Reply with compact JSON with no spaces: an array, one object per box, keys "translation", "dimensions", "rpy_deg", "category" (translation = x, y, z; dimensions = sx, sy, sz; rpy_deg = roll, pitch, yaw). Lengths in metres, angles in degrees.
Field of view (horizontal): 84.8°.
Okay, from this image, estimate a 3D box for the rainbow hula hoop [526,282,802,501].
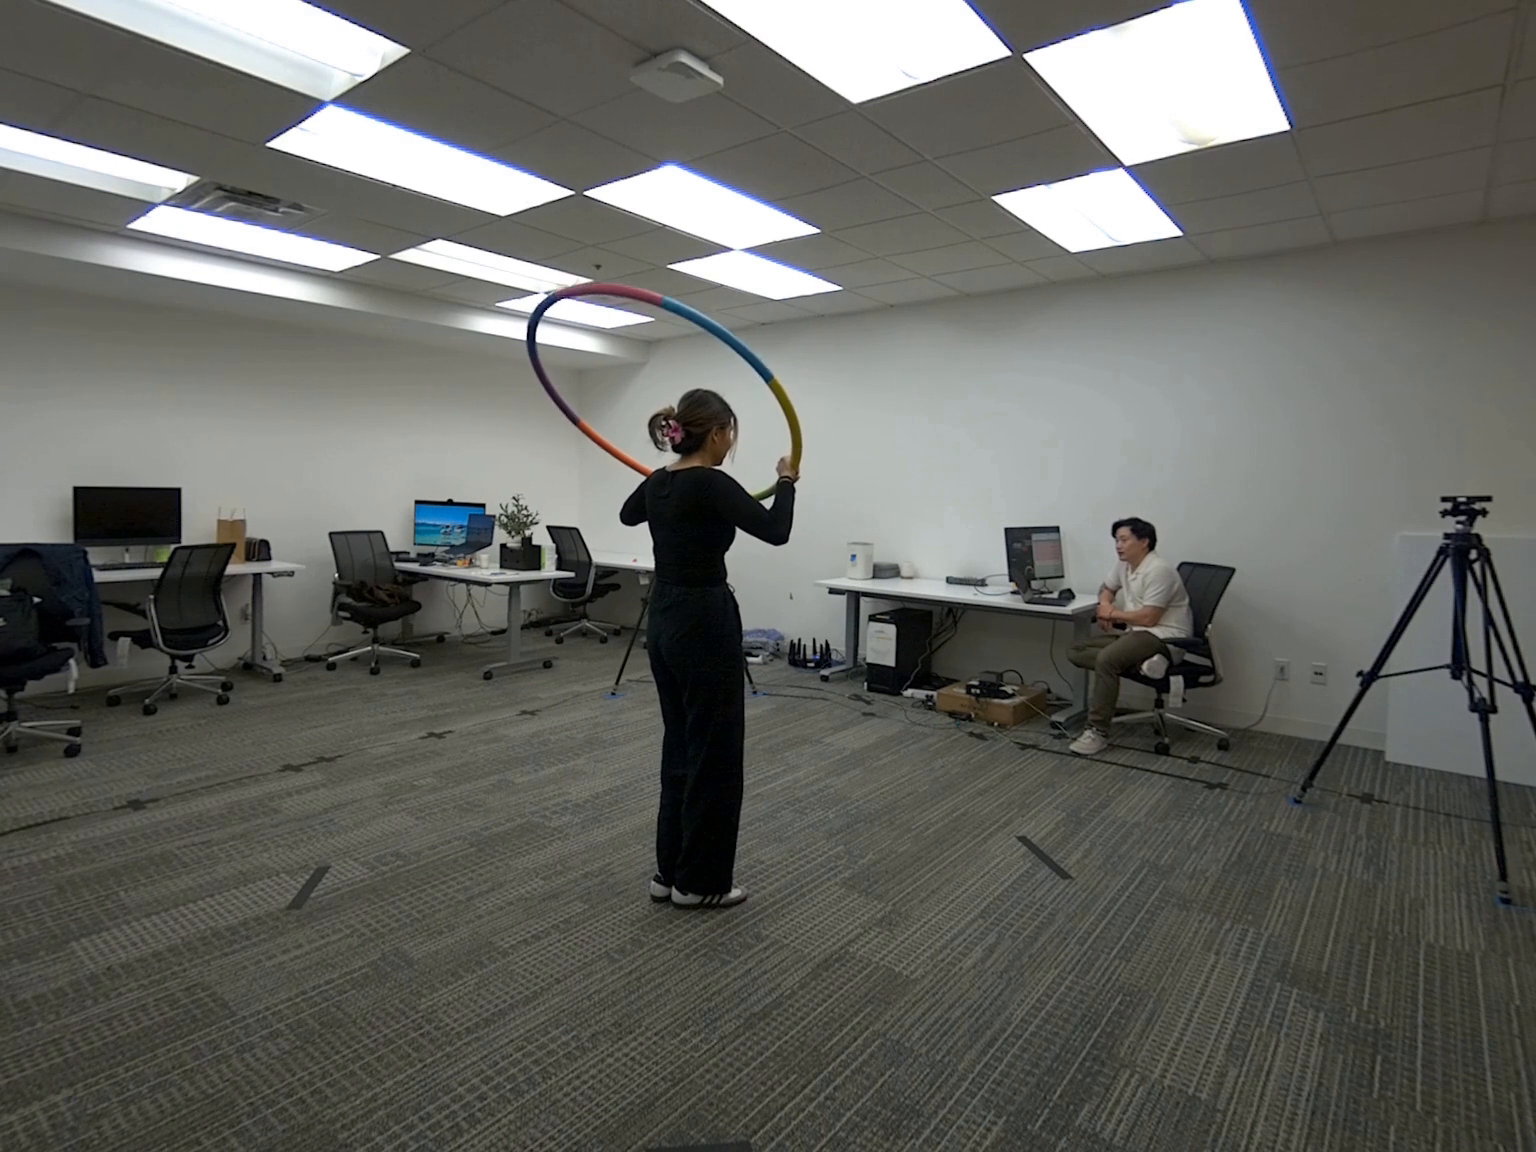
[{"translation":[-0.359,-0.551,2.762],"dimensions":[0.994,0.036,0.956],"rpy_deg":[23,-25,10],"category":"rainbow hula hoop"}]
